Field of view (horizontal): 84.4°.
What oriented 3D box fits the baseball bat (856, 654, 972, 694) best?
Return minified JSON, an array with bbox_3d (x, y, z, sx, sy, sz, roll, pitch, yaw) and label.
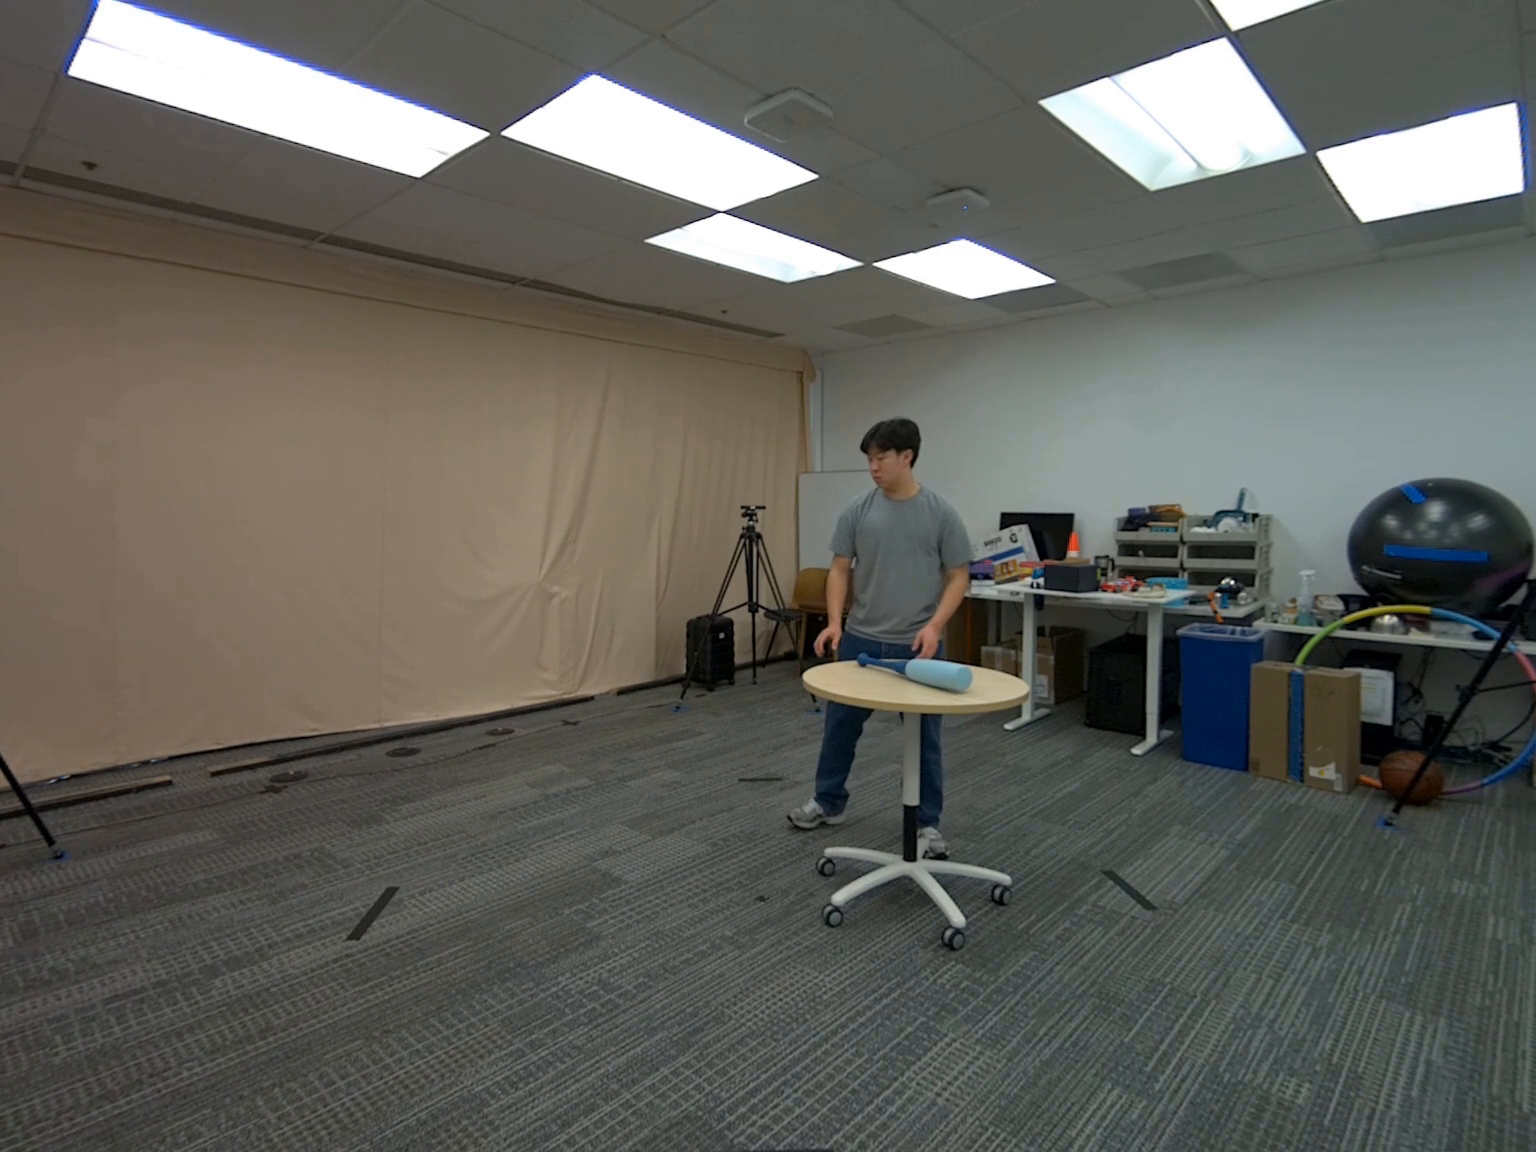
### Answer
[{"bbox_3d":[0.495,0.324,2.947,0.087,0.089,0.558,-2,2,-30],"label":"baseball bat"}]
